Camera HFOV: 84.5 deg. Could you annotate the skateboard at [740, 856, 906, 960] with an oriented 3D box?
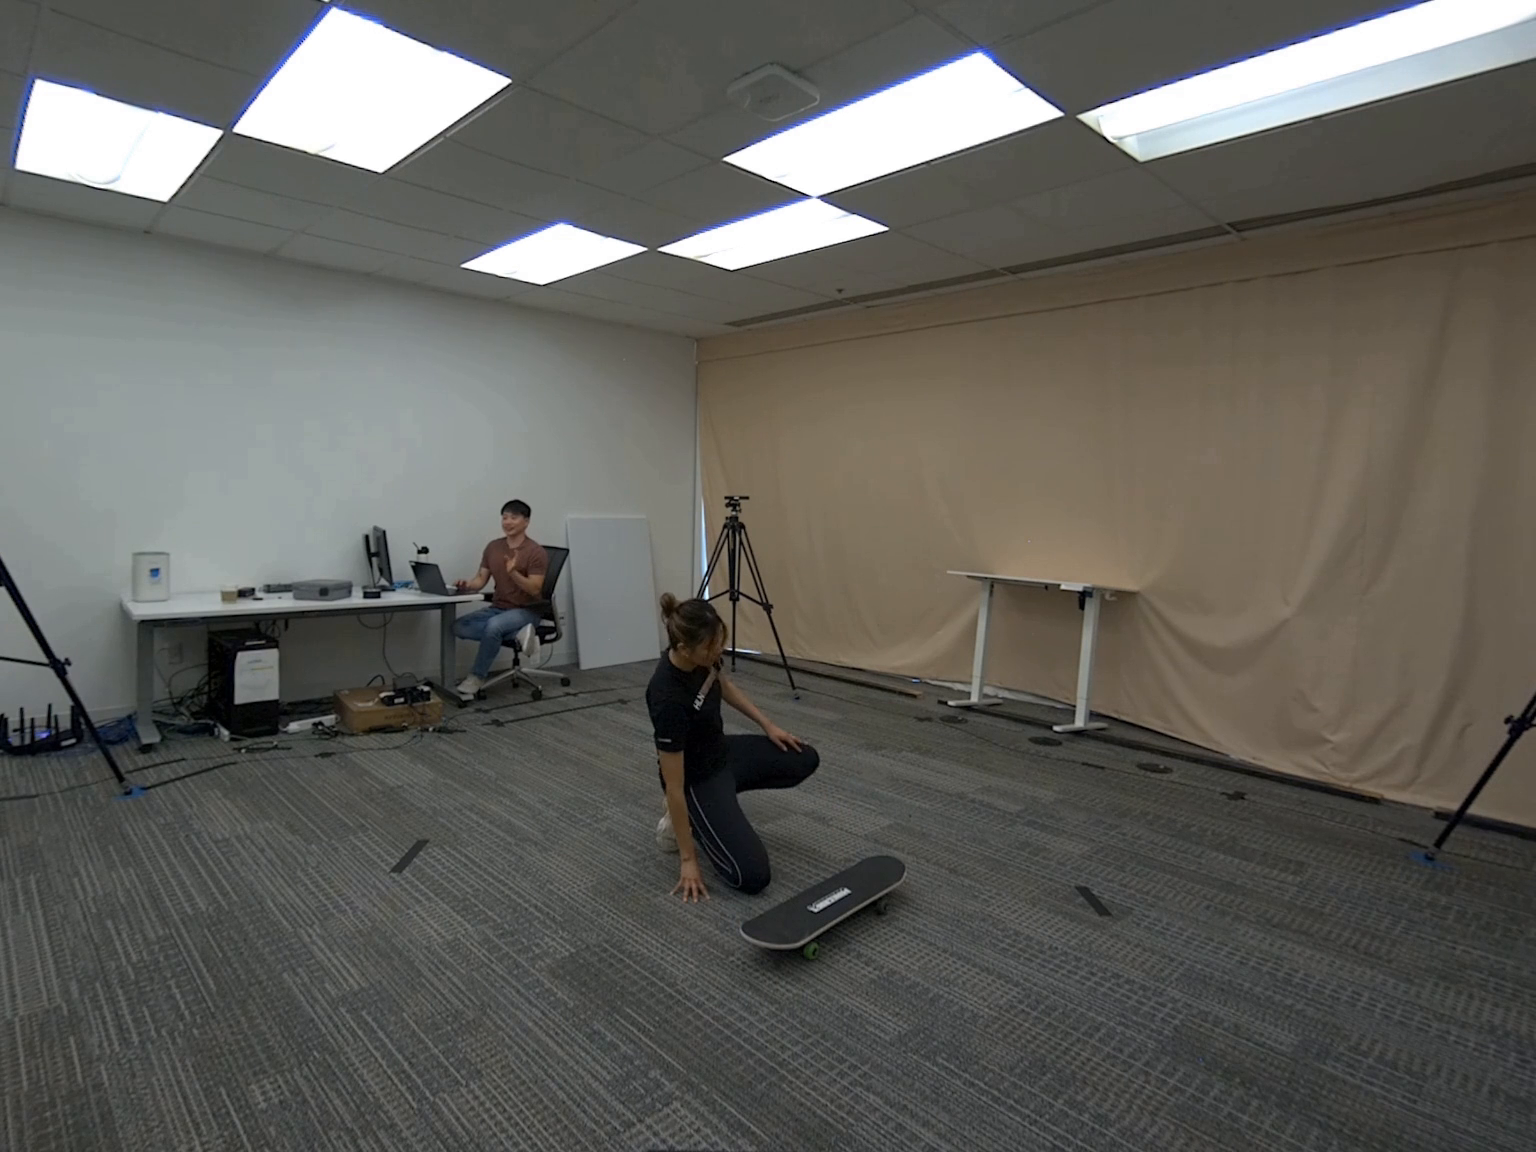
[{"bbox_3d":[0.192,1.082,2.744,0.198,0.110,0.768,5,7,41],"label":"skateboard"}]
